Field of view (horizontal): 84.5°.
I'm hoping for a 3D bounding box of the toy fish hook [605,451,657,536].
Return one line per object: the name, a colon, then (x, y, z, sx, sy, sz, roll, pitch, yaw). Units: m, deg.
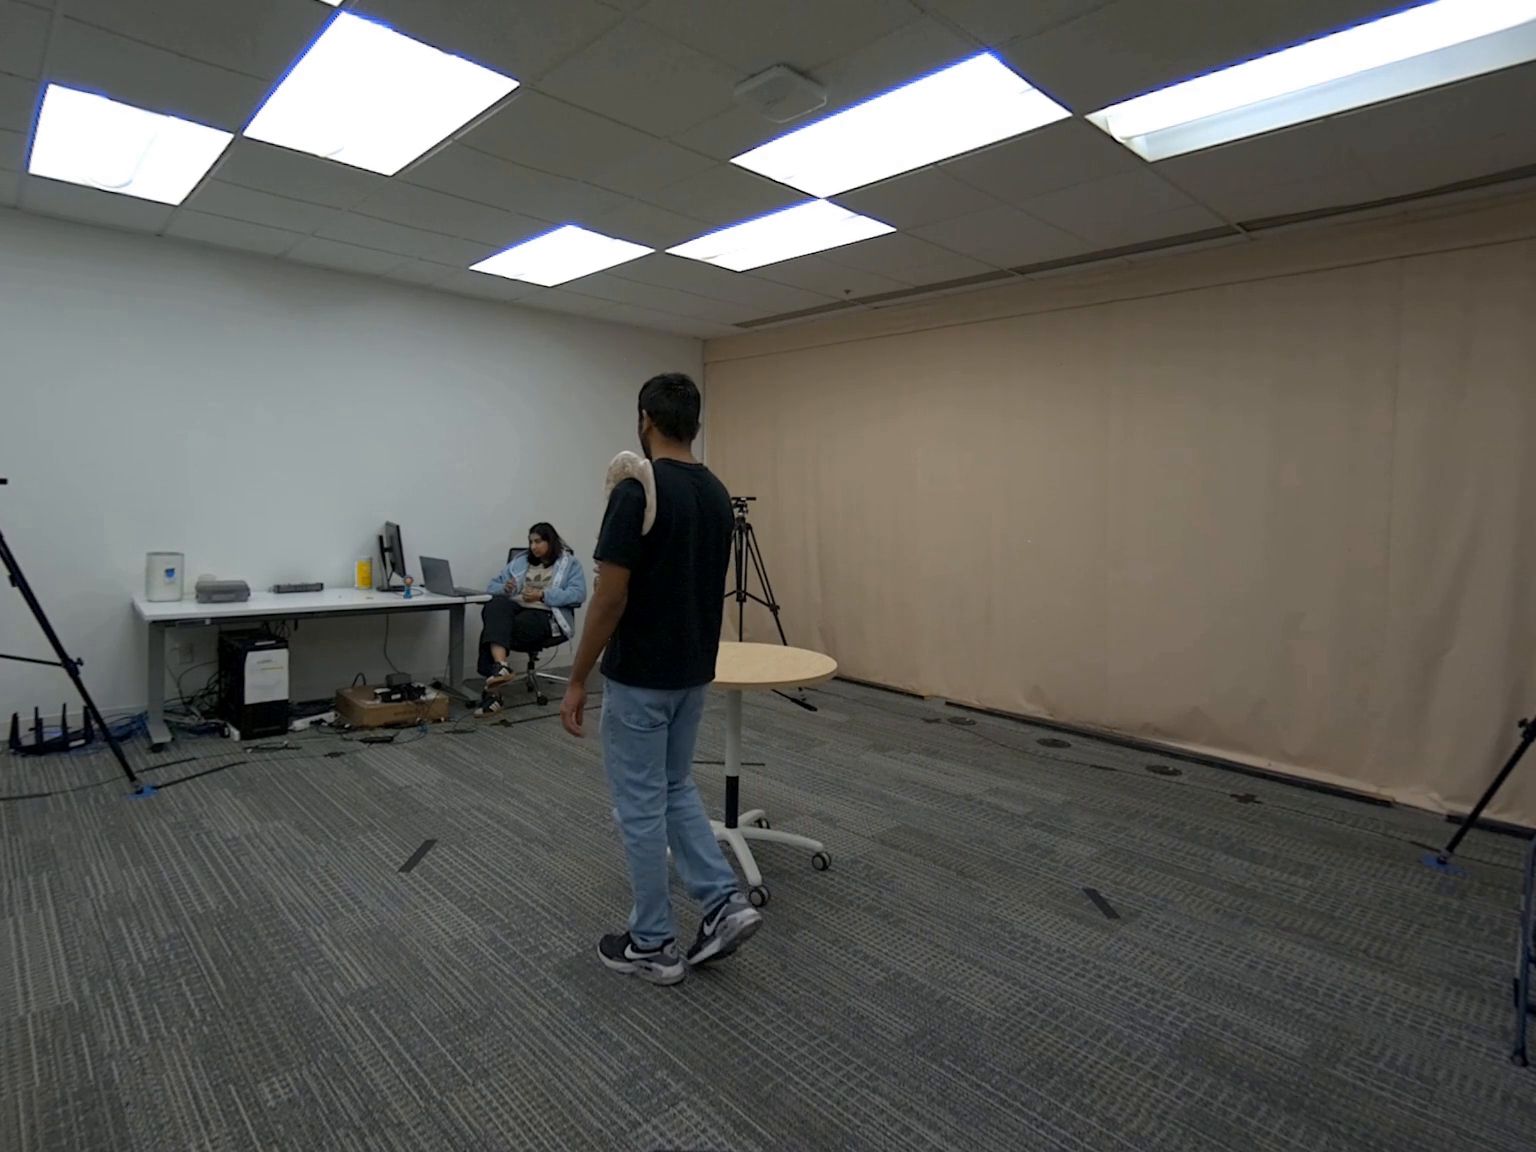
toy fish hook: (-0.398, -0.088, 2.318, 0.047, 0.501, 0.232, -5, 26, -41)
